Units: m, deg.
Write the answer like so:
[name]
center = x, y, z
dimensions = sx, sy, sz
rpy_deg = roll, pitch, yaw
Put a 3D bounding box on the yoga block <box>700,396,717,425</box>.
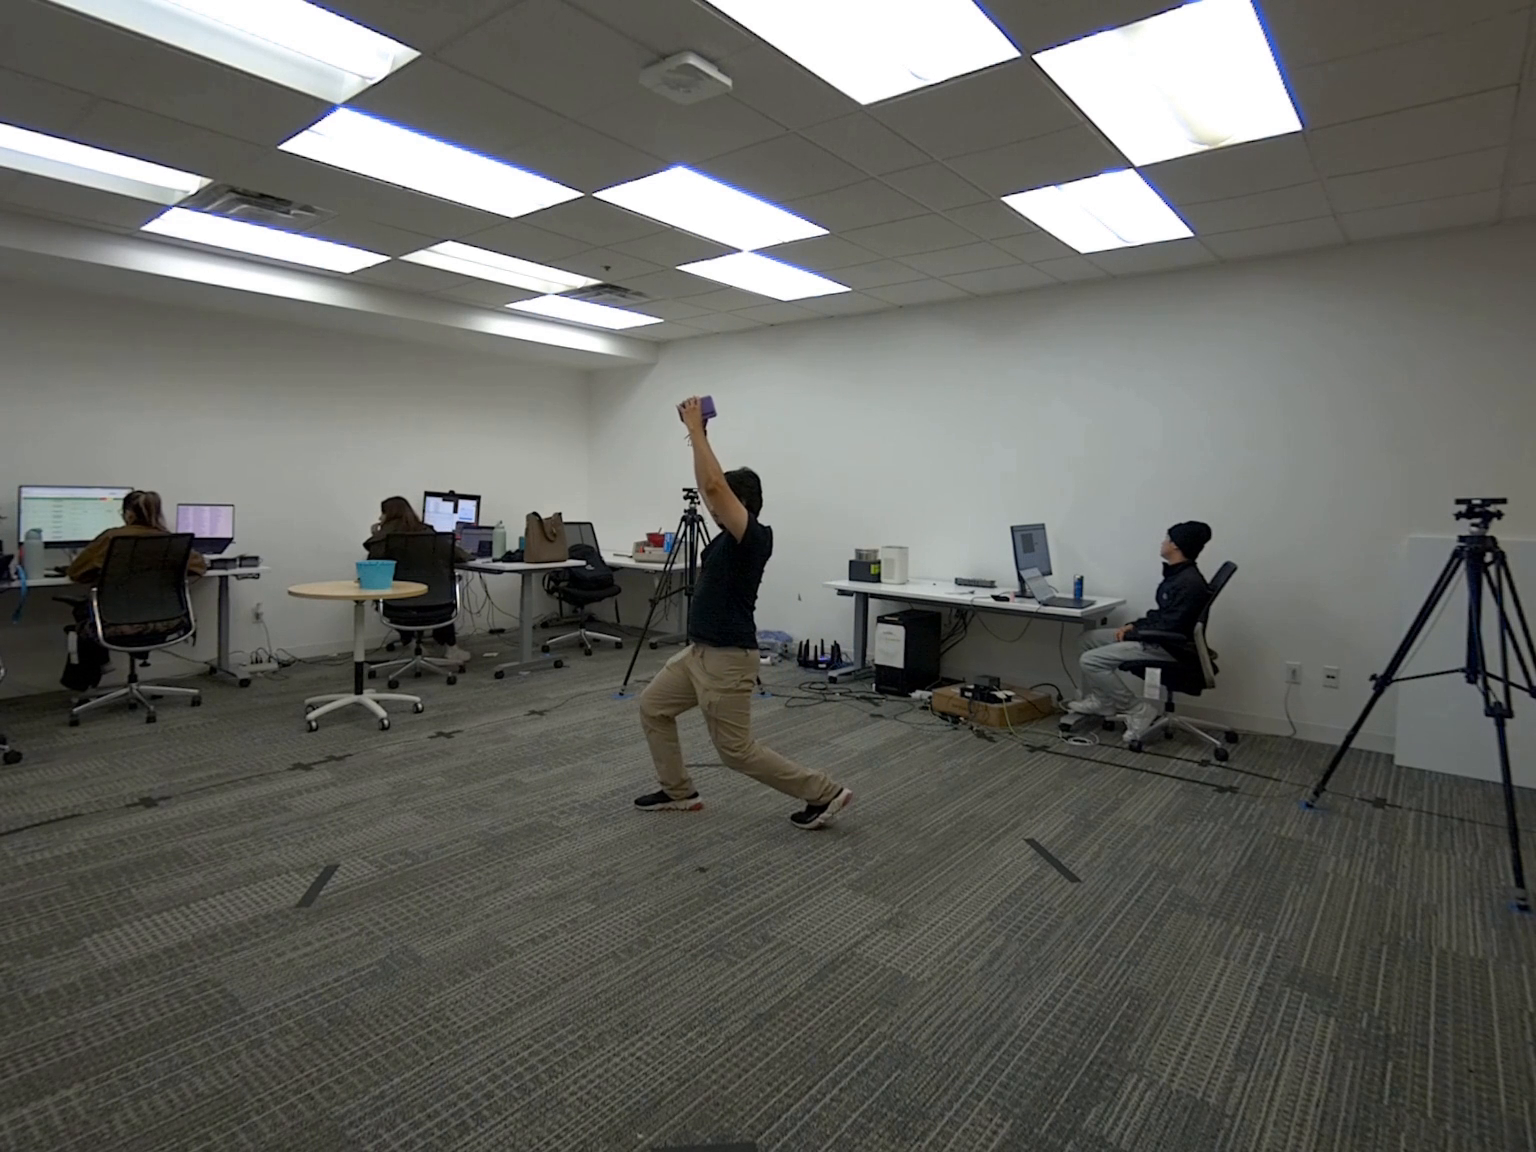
[yoga block]
center = -0.301, -0.700, 3.583
dimensions = 0.149, 0.076, 0.230
rpy_deg = -17, 6, 0
